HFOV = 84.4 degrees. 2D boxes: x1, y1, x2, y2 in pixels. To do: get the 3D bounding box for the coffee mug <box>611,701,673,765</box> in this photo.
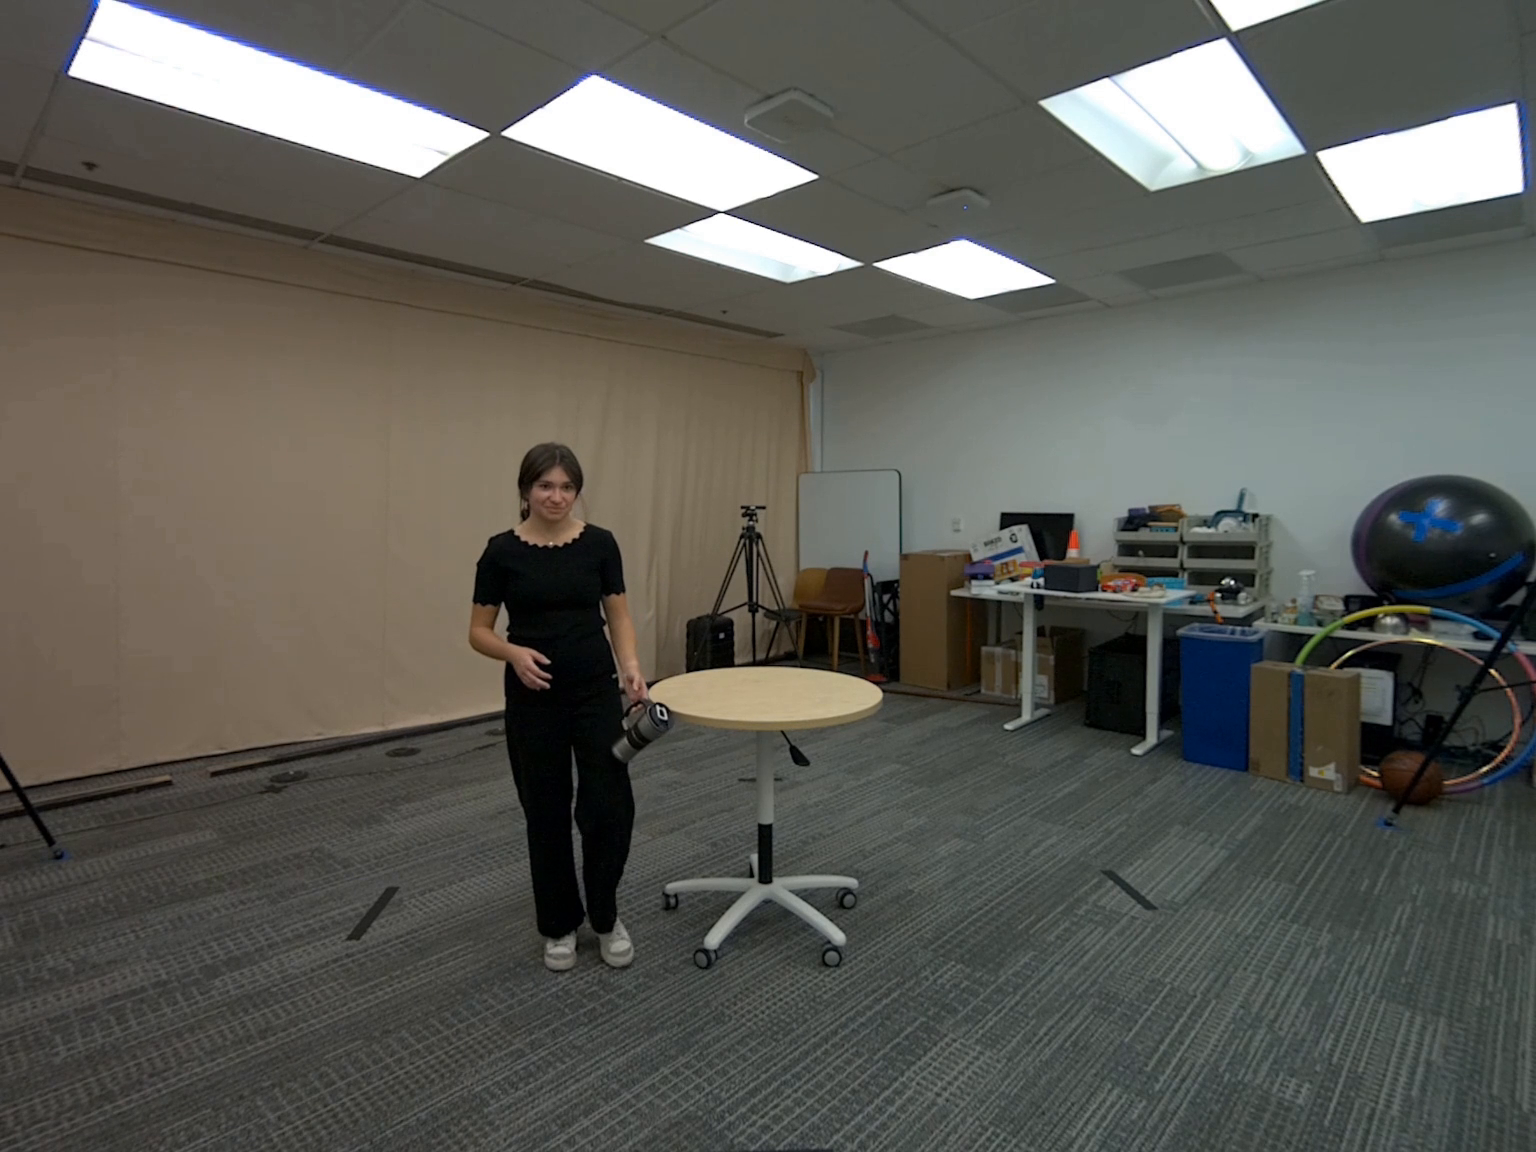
[{"bbox_3d":[-0.383,0.442,2.416,0.205,0.124,0.085,-41,-18,26],"label":"coffee mug"}]
